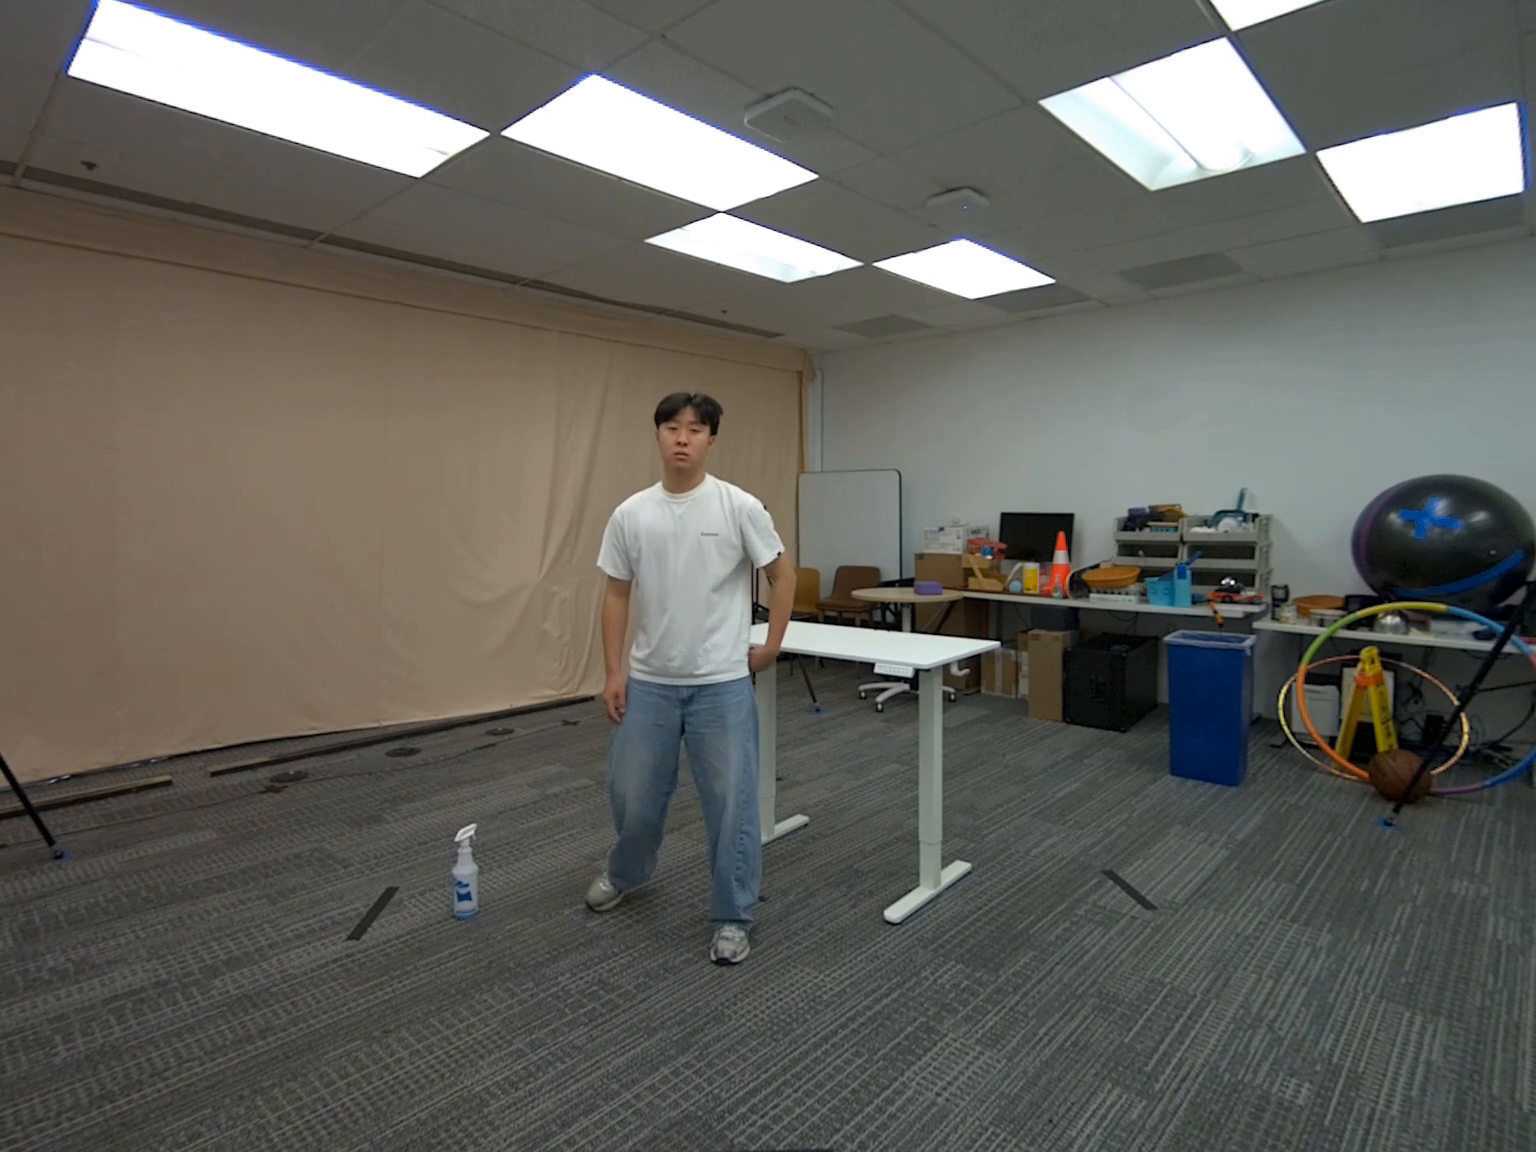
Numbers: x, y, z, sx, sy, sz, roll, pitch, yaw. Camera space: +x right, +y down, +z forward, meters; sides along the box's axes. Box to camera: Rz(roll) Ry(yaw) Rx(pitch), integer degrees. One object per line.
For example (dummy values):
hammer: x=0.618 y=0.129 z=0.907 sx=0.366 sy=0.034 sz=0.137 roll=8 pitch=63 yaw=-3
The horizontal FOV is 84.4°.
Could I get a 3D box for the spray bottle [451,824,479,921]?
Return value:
spray bottle: x=-1.044 y=1.024 z=2.886 sx=0.087 sy=0.297 sz=0.090 roll=-1 pitch=2 yaw=-37
